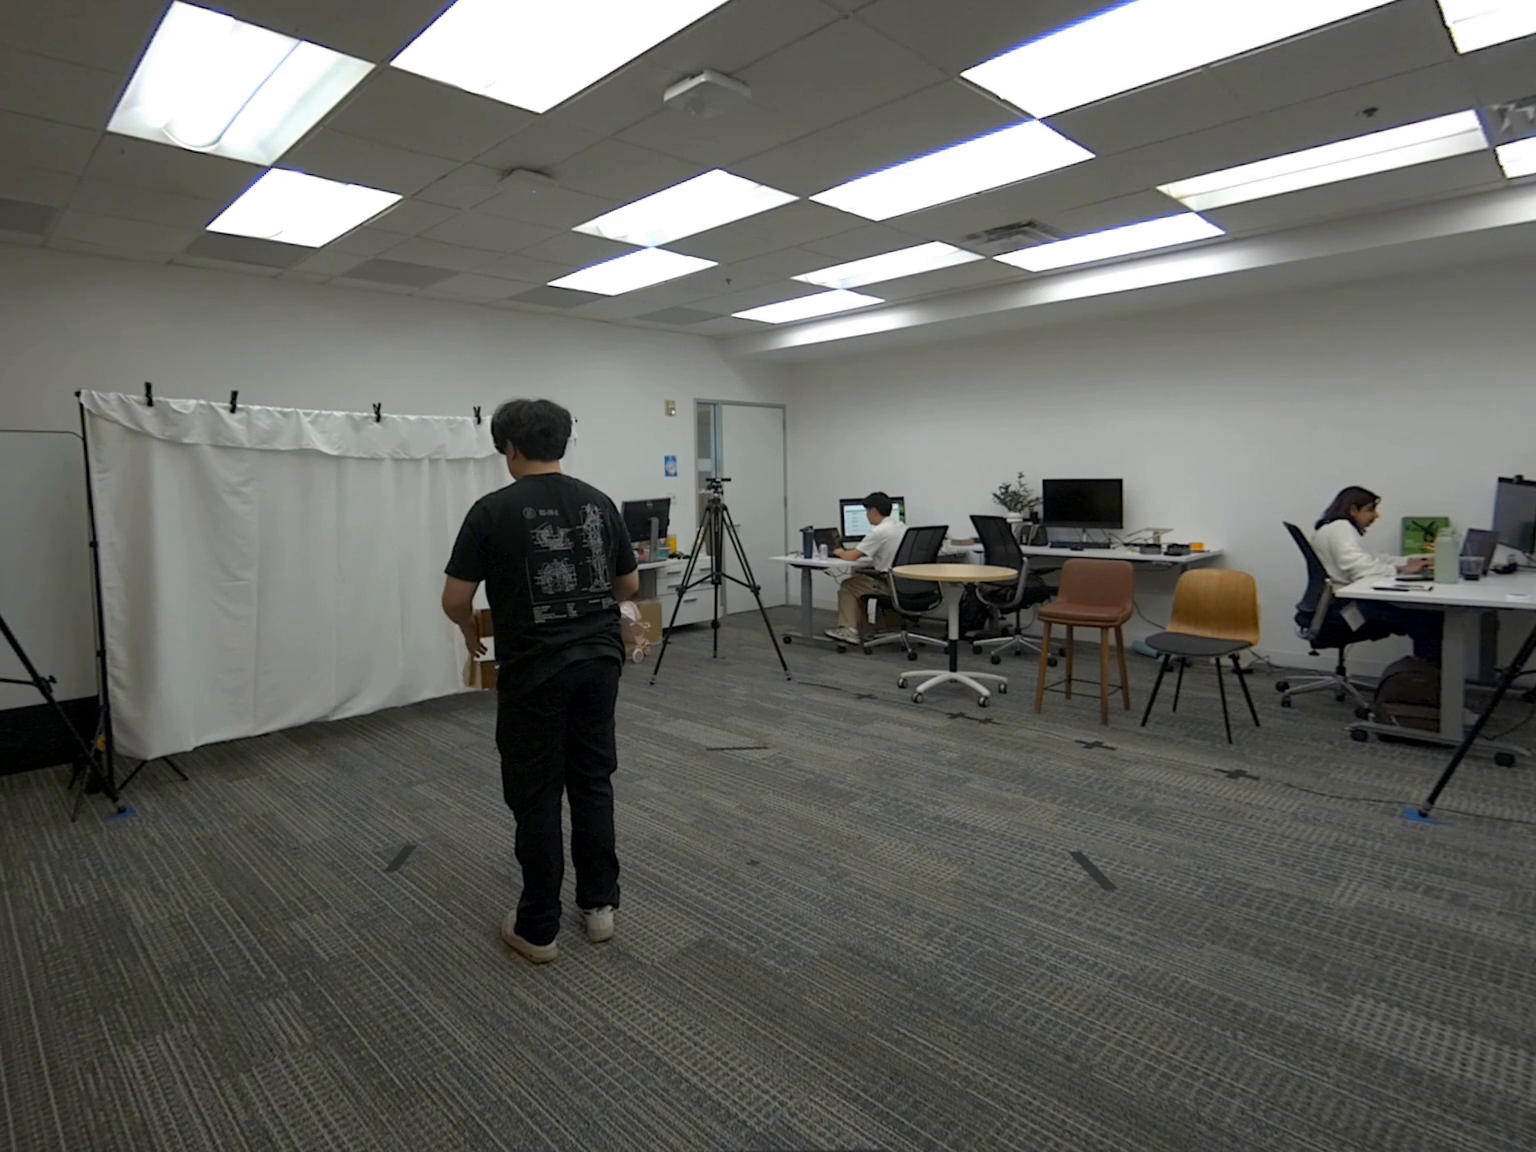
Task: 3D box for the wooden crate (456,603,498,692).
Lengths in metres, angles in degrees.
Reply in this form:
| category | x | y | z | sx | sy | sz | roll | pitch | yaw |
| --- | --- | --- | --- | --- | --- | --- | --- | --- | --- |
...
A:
| category | x | y | z | sx | sy | sz | roll | pitch | yaw |
| --- | --- | --- | --- | --- | --- | --- | --- | --- | --- |
| wooden crate | -0.857 | 0.223 | 2.916 | 0.316 | 0.274 | 0.309 | -3 | -2 | -32 |
